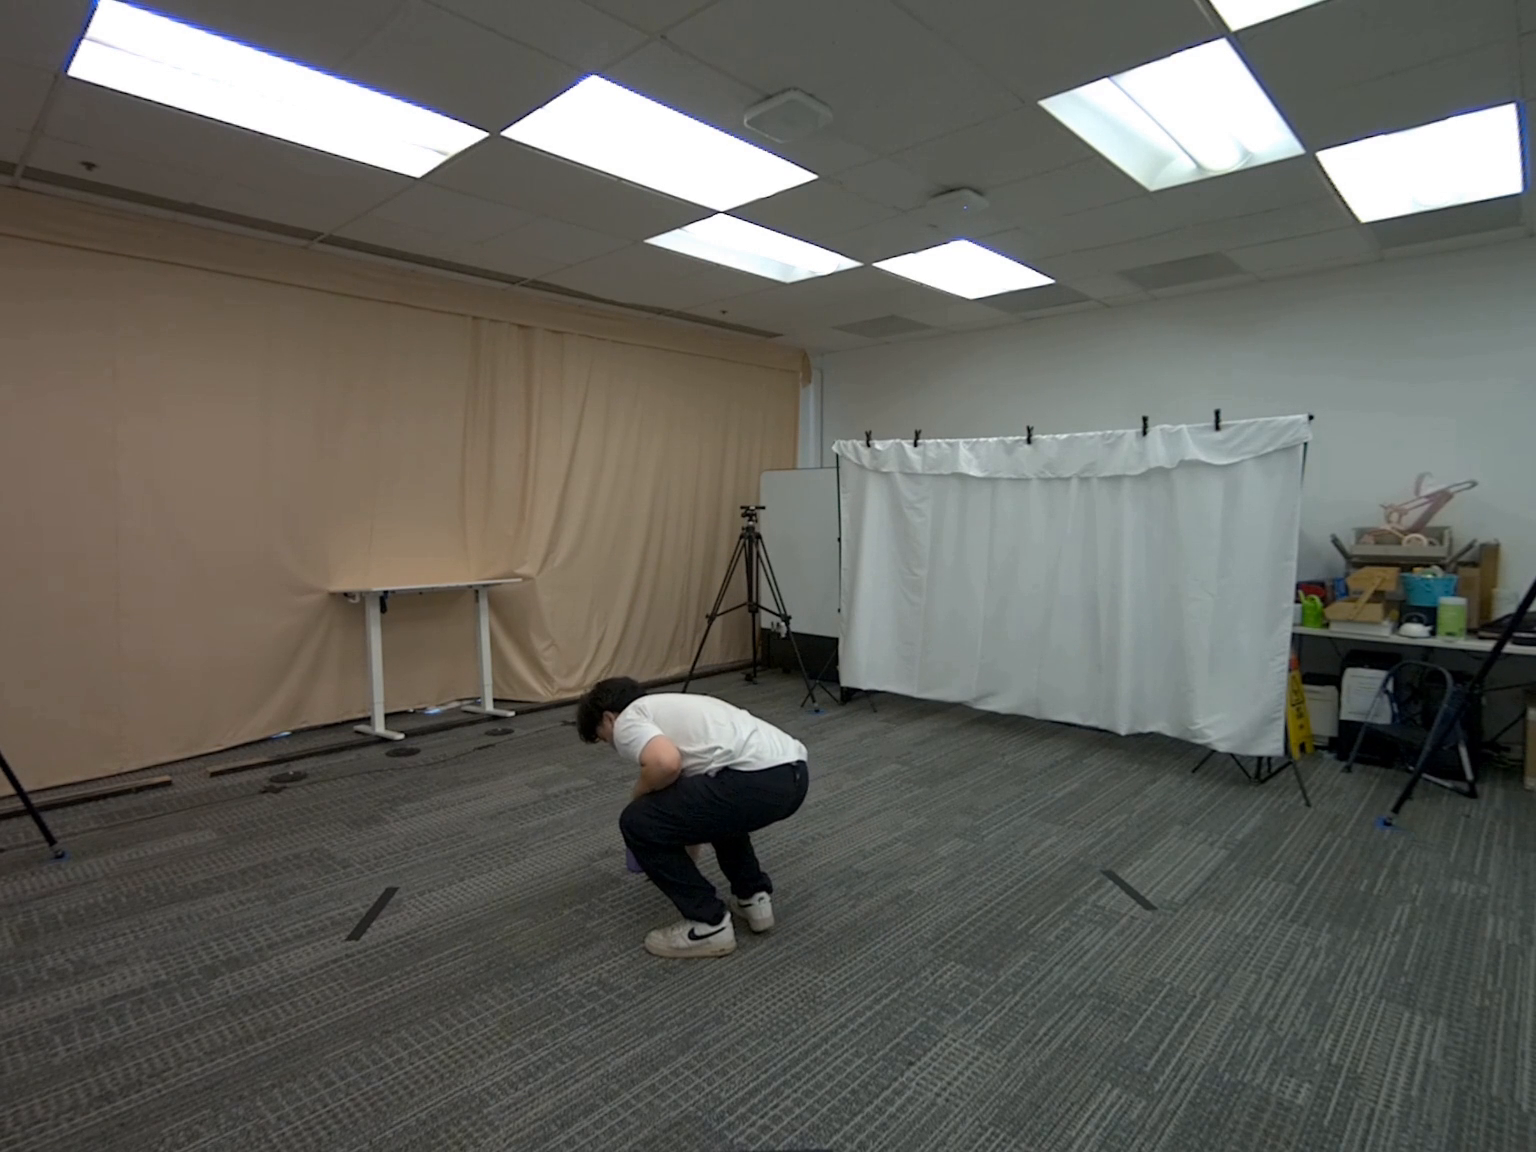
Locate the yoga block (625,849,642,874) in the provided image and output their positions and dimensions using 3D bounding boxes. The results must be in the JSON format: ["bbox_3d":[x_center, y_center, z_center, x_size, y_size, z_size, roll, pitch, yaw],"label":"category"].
[{"bbox_3d":[-0.450,1.047,3.290,0.222,0.149,0.079,-3,2,-44],"label":"yoga block"}]
